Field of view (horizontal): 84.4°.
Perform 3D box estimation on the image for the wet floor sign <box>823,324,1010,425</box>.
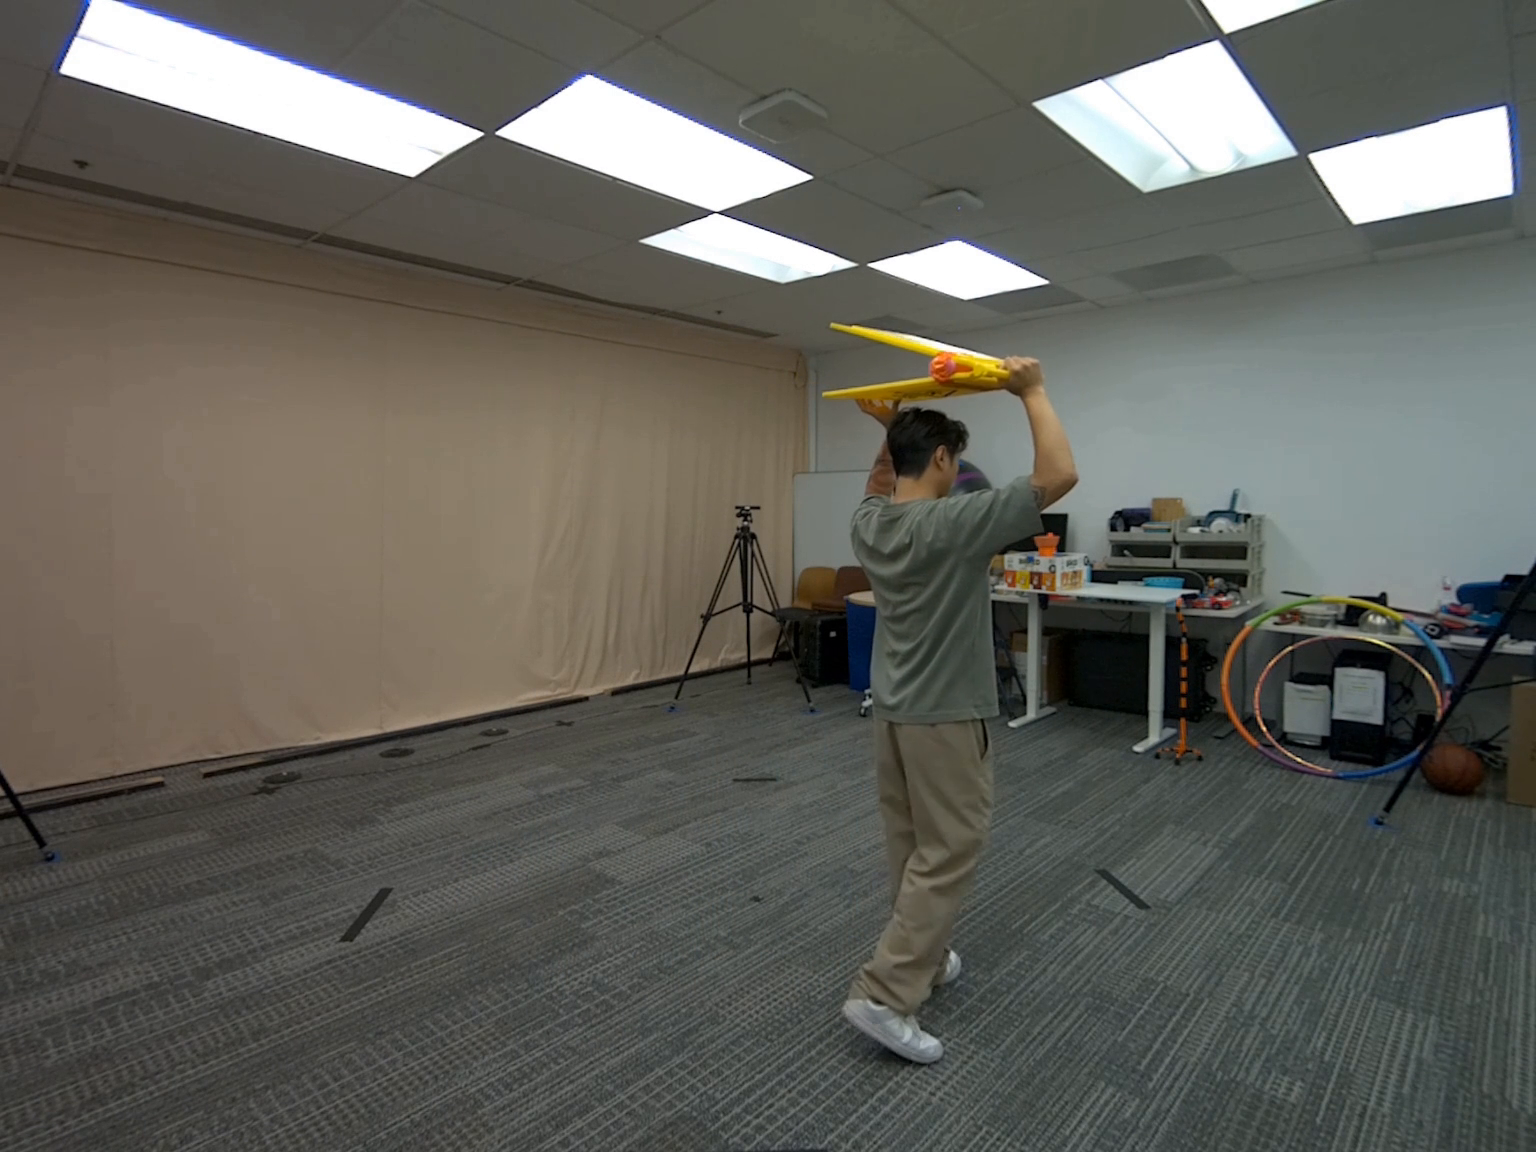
[{"bbox_3d":[0.463,-0.579,2.349,0.274,0.288,0.668,1,12,-31],"label":"wet floor sign"}]
